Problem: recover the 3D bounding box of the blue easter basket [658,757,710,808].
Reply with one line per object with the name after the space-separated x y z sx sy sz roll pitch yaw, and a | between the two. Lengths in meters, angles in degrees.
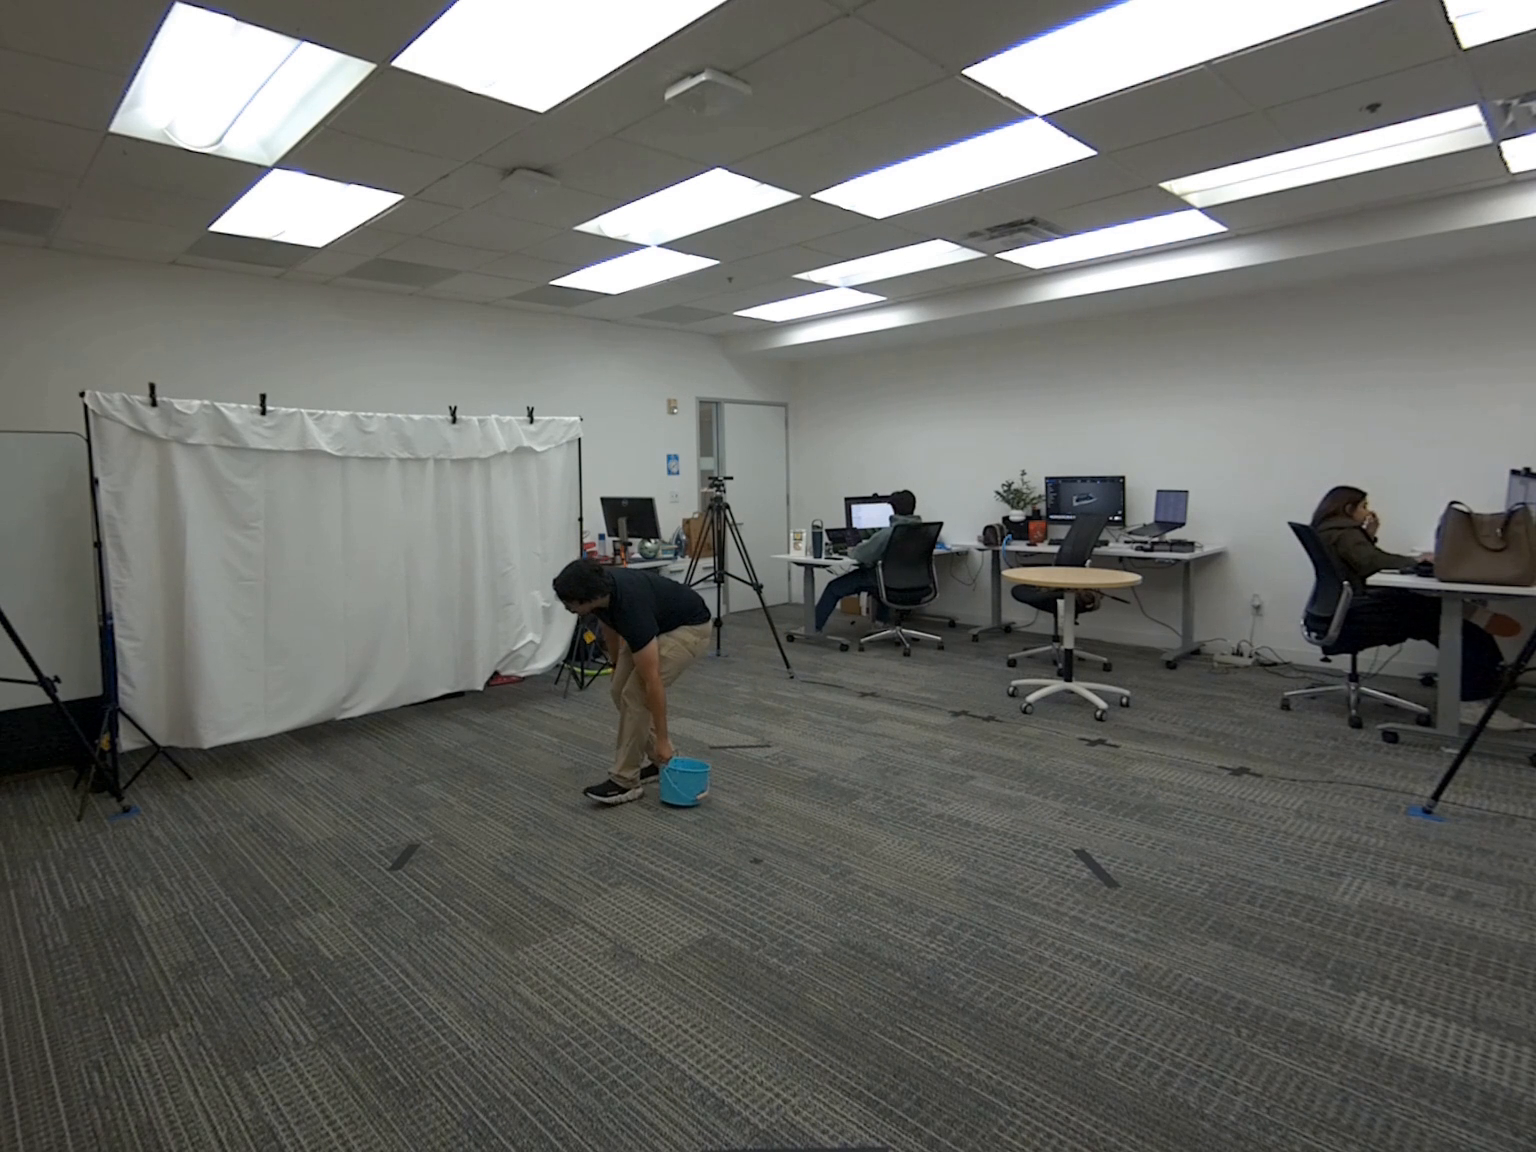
-0.371 0.888 3.691 0.243 0.156 0.243 6 -1 -2 | blue easter basket
